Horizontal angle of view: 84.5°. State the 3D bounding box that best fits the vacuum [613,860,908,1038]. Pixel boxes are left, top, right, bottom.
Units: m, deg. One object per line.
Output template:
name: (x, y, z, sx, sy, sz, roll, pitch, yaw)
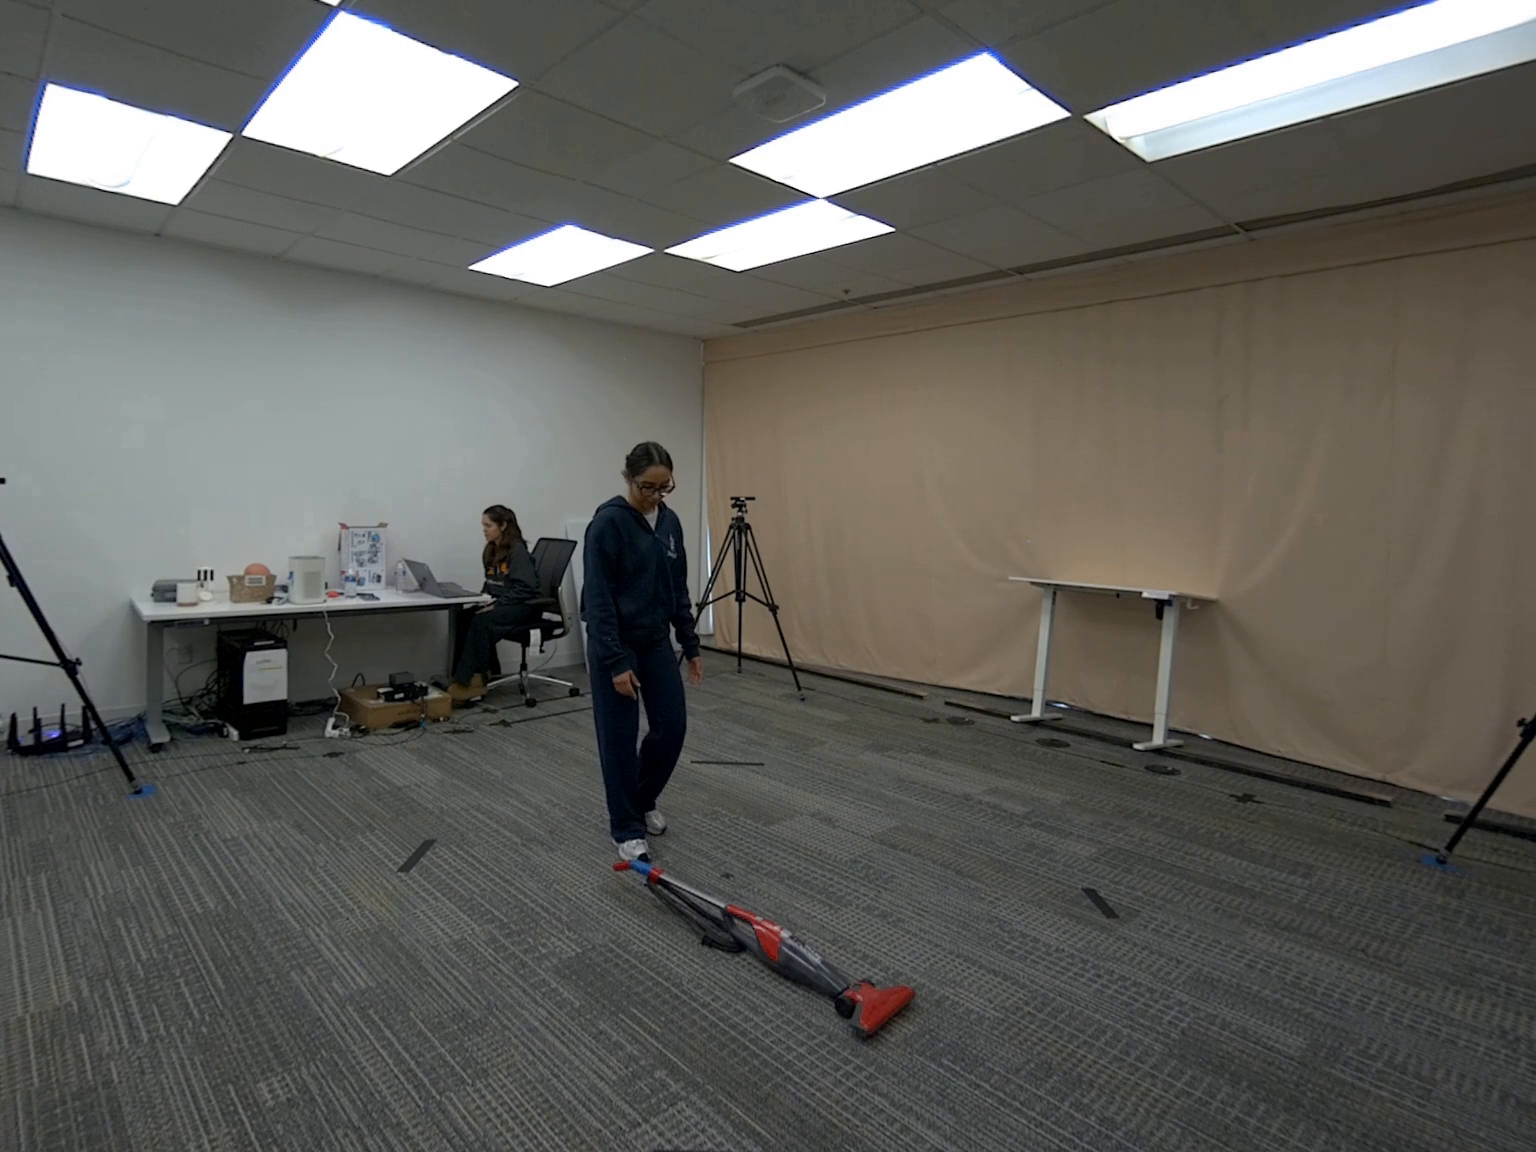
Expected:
vacuum: (-0.123, 1.101, 2.630, 1.076, 0.143, 0.247, 8, 11, 39)
